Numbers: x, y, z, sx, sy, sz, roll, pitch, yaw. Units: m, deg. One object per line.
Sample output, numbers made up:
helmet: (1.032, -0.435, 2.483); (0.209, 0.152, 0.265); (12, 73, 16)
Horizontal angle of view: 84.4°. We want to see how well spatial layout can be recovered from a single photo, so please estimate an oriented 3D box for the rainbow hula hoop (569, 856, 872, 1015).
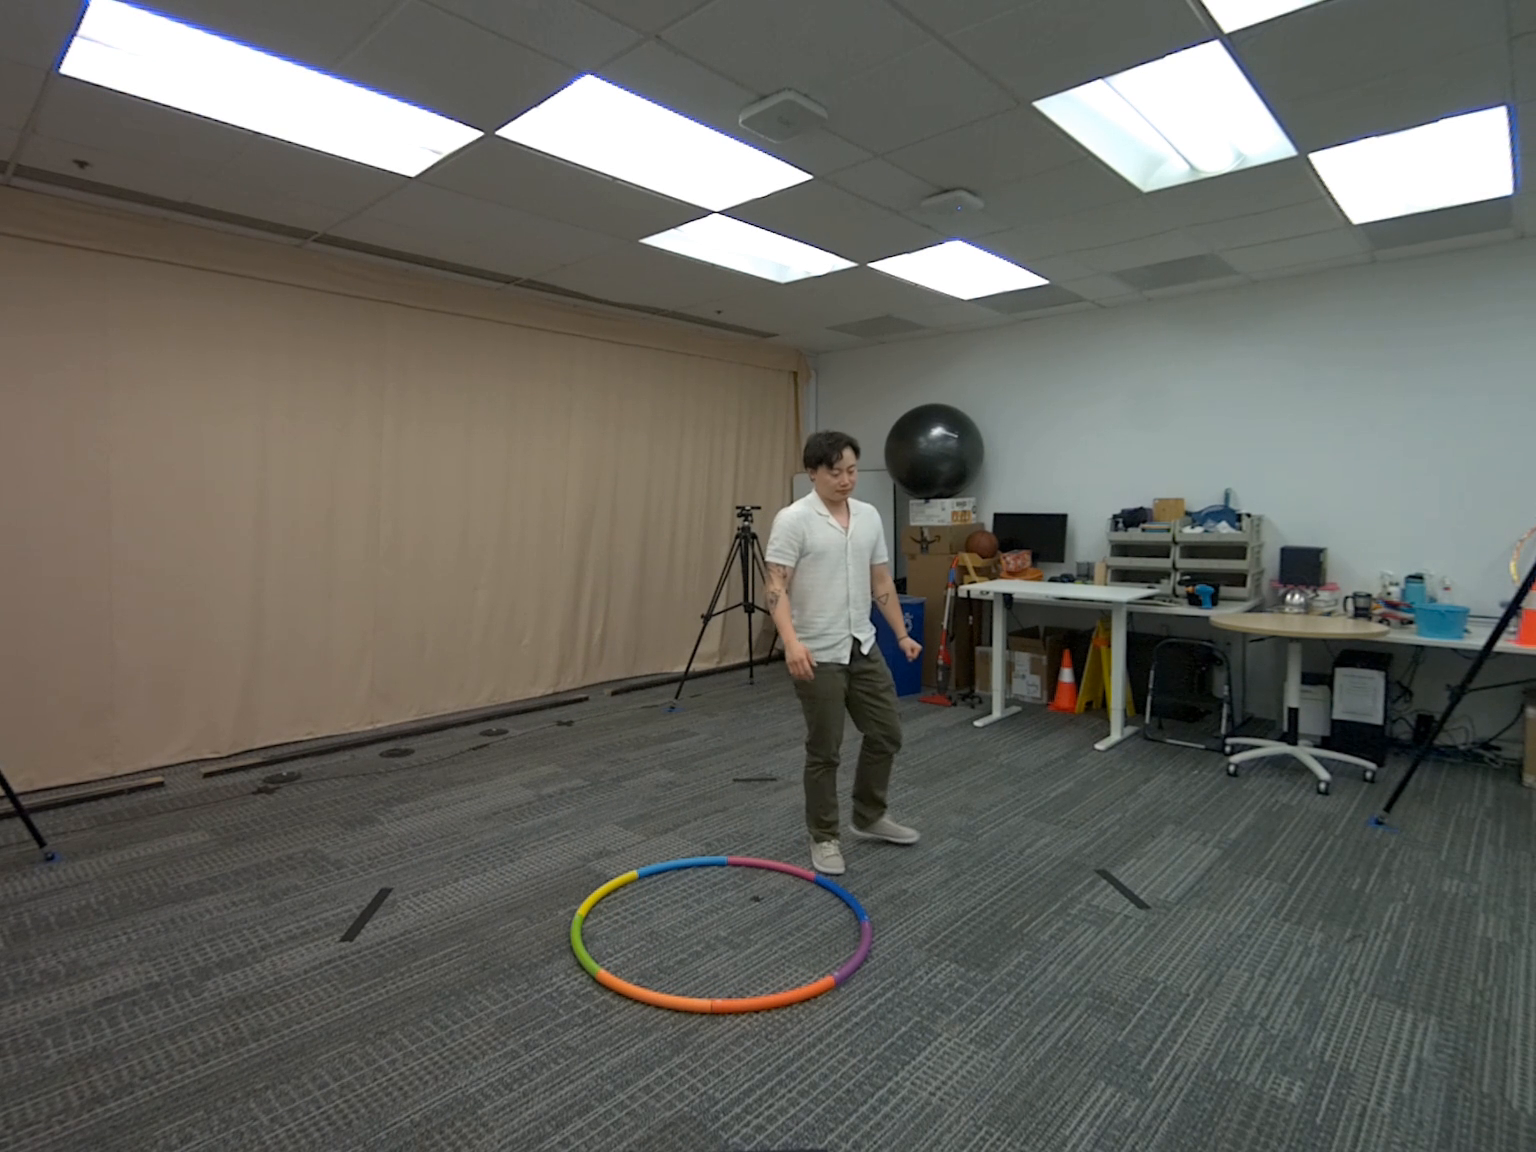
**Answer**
rainbow hula hoop: (-0.152, 1.132, 2.791); (0.978, 0.035, 0.982); (0, 4, -2)
